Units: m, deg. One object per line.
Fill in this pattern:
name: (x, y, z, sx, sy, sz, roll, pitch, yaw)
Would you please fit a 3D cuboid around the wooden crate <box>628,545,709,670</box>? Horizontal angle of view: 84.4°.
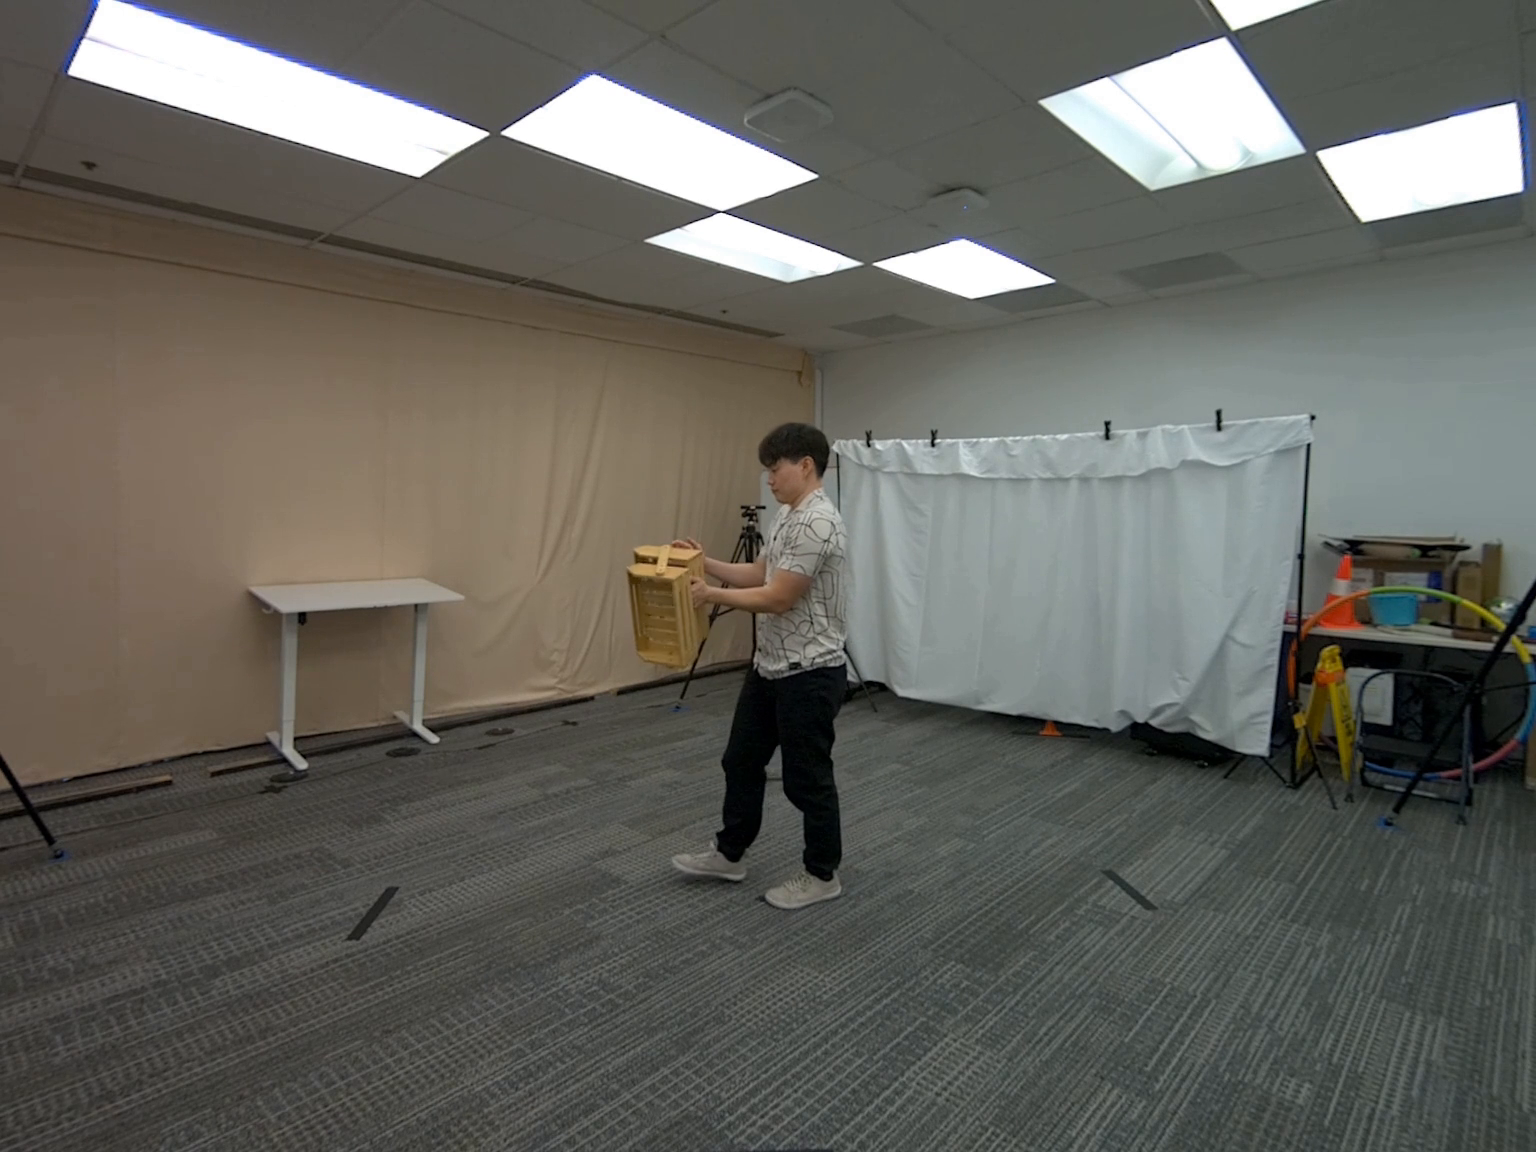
wooden crate: (-0.355, 0.093, 2.768, 0.310, 0.320, 0.269, 6, 20, 27)
